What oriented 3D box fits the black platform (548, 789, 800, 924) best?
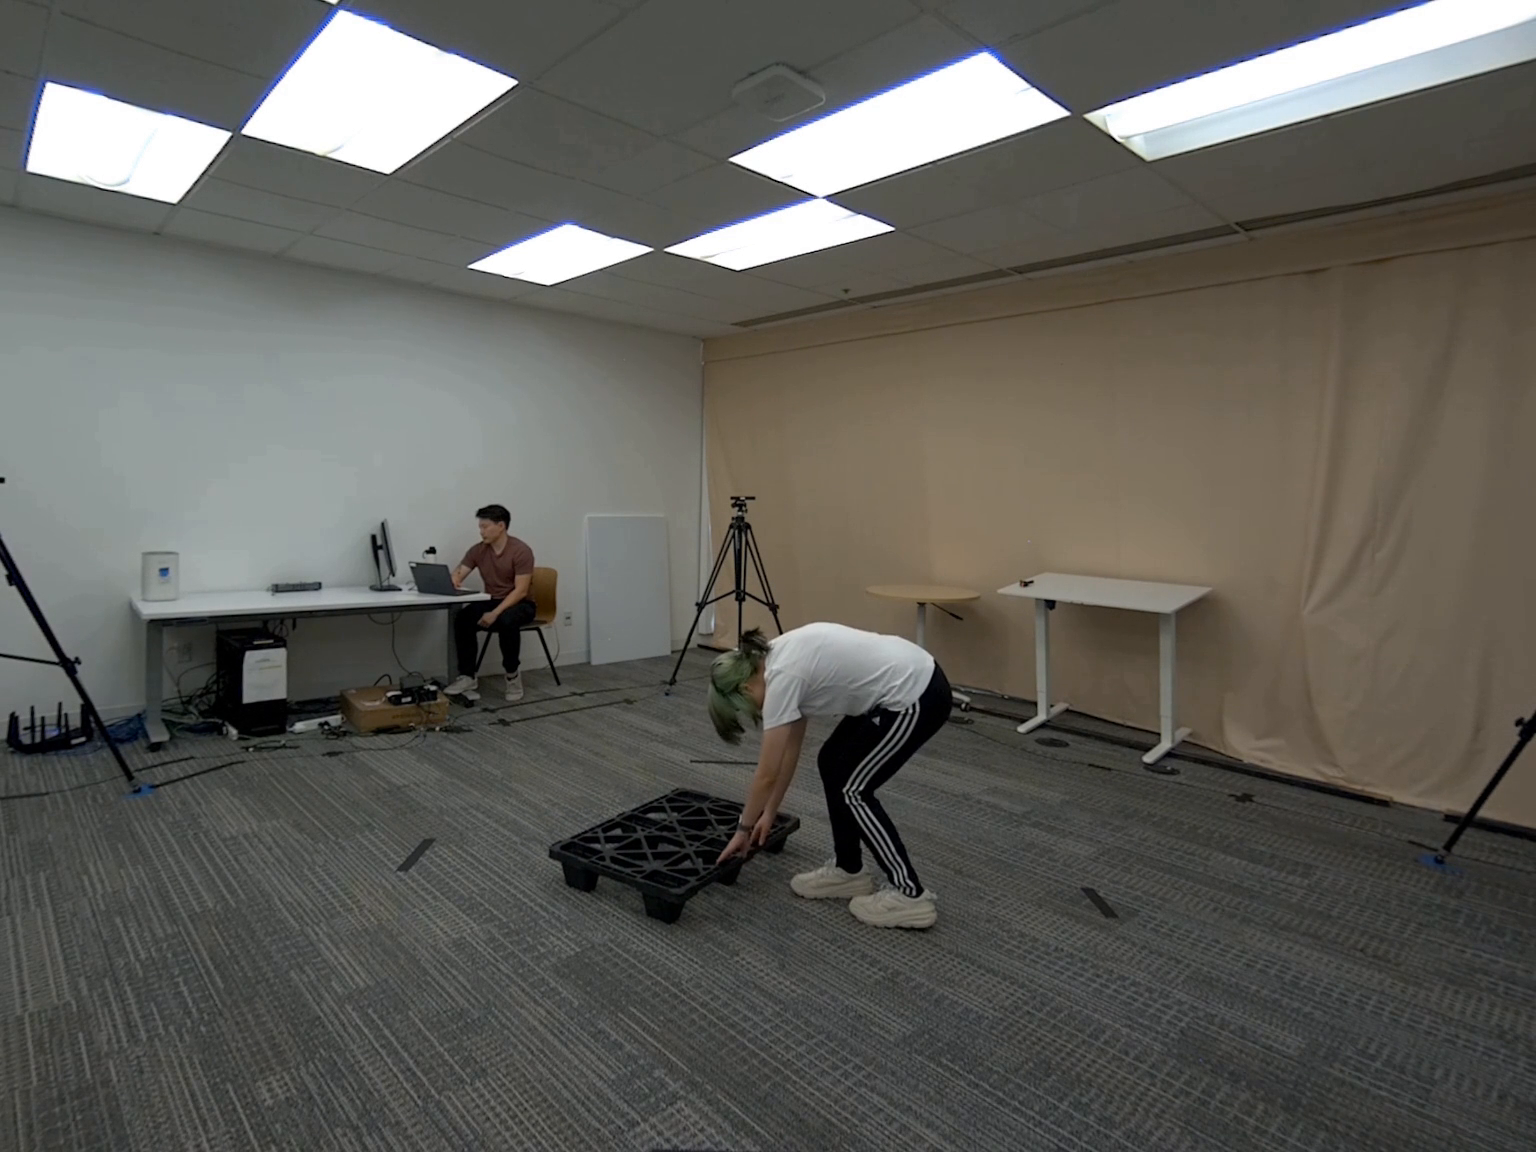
[{"bbox_3d":[-0.328,1.027,3.166,0.619,0.143,0.790,5,7,32],"label":"black platform"}]
